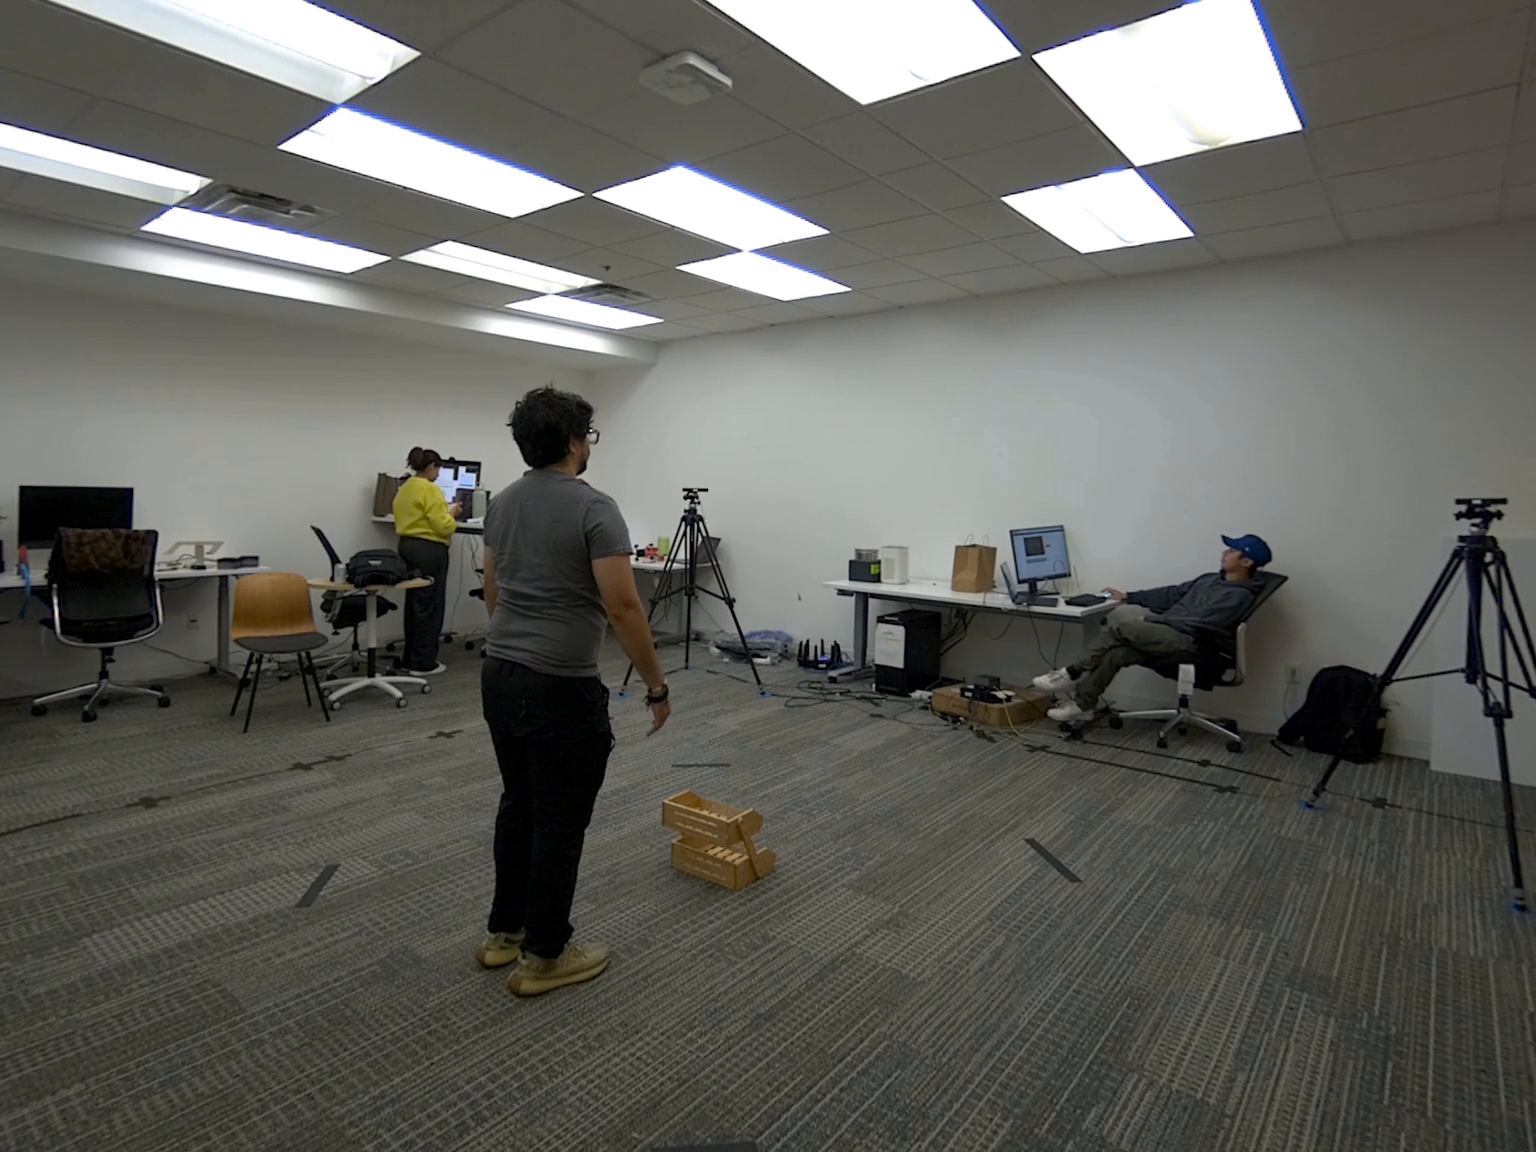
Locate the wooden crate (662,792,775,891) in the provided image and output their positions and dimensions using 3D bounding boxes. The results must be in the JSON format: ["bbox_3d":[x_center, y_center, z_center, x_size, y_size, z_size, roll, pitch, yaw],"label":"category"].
[{"bbox_3d":[-0.185,0.937,3.107,0.335,0.272,0.293,4,6,36],"label":"wooden crate"}]
